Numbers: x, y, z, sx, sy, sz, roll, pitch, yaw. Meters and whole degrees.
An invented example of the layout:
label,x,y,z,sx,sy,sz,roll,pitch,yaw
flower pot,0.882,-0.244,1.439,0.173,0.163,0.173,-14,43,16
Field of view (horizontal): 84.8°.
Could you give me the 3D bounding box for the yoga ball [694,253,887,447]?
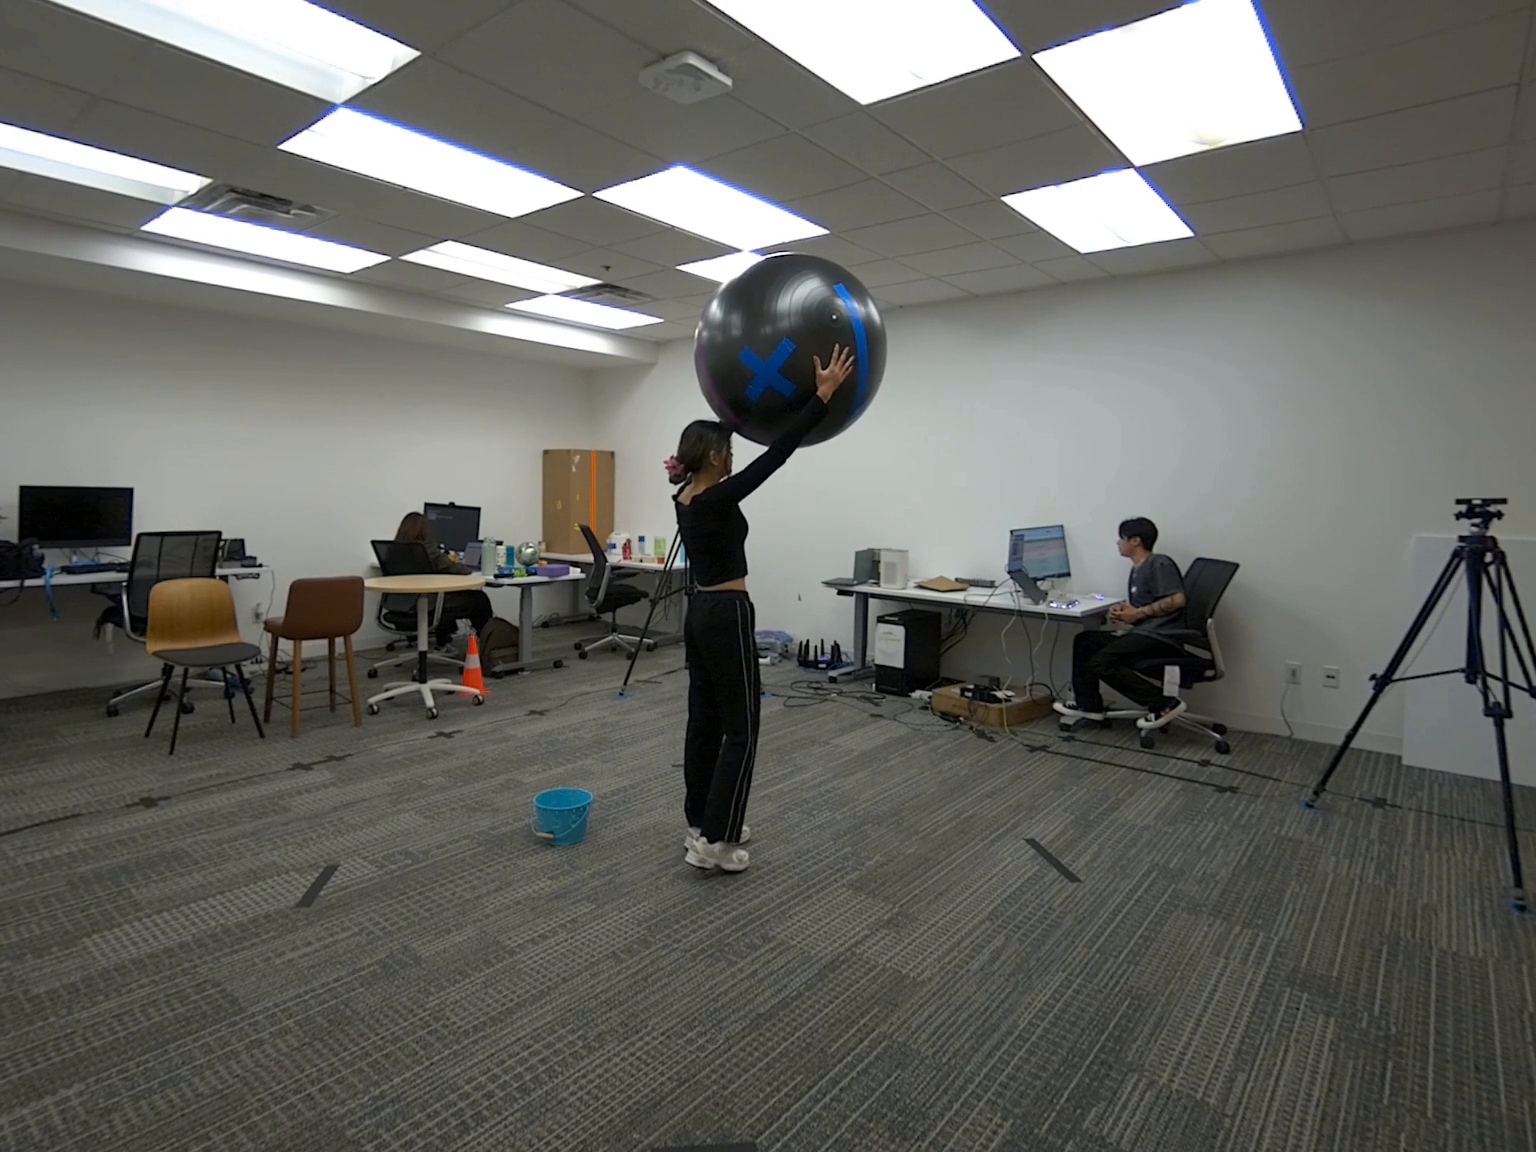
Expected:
label,x,y,z,sx,sy,sz,roll,pitch,yaw
yoga ball,0.079,-0.887,3.368,0.757,0.755,0.762,1,4,-2
